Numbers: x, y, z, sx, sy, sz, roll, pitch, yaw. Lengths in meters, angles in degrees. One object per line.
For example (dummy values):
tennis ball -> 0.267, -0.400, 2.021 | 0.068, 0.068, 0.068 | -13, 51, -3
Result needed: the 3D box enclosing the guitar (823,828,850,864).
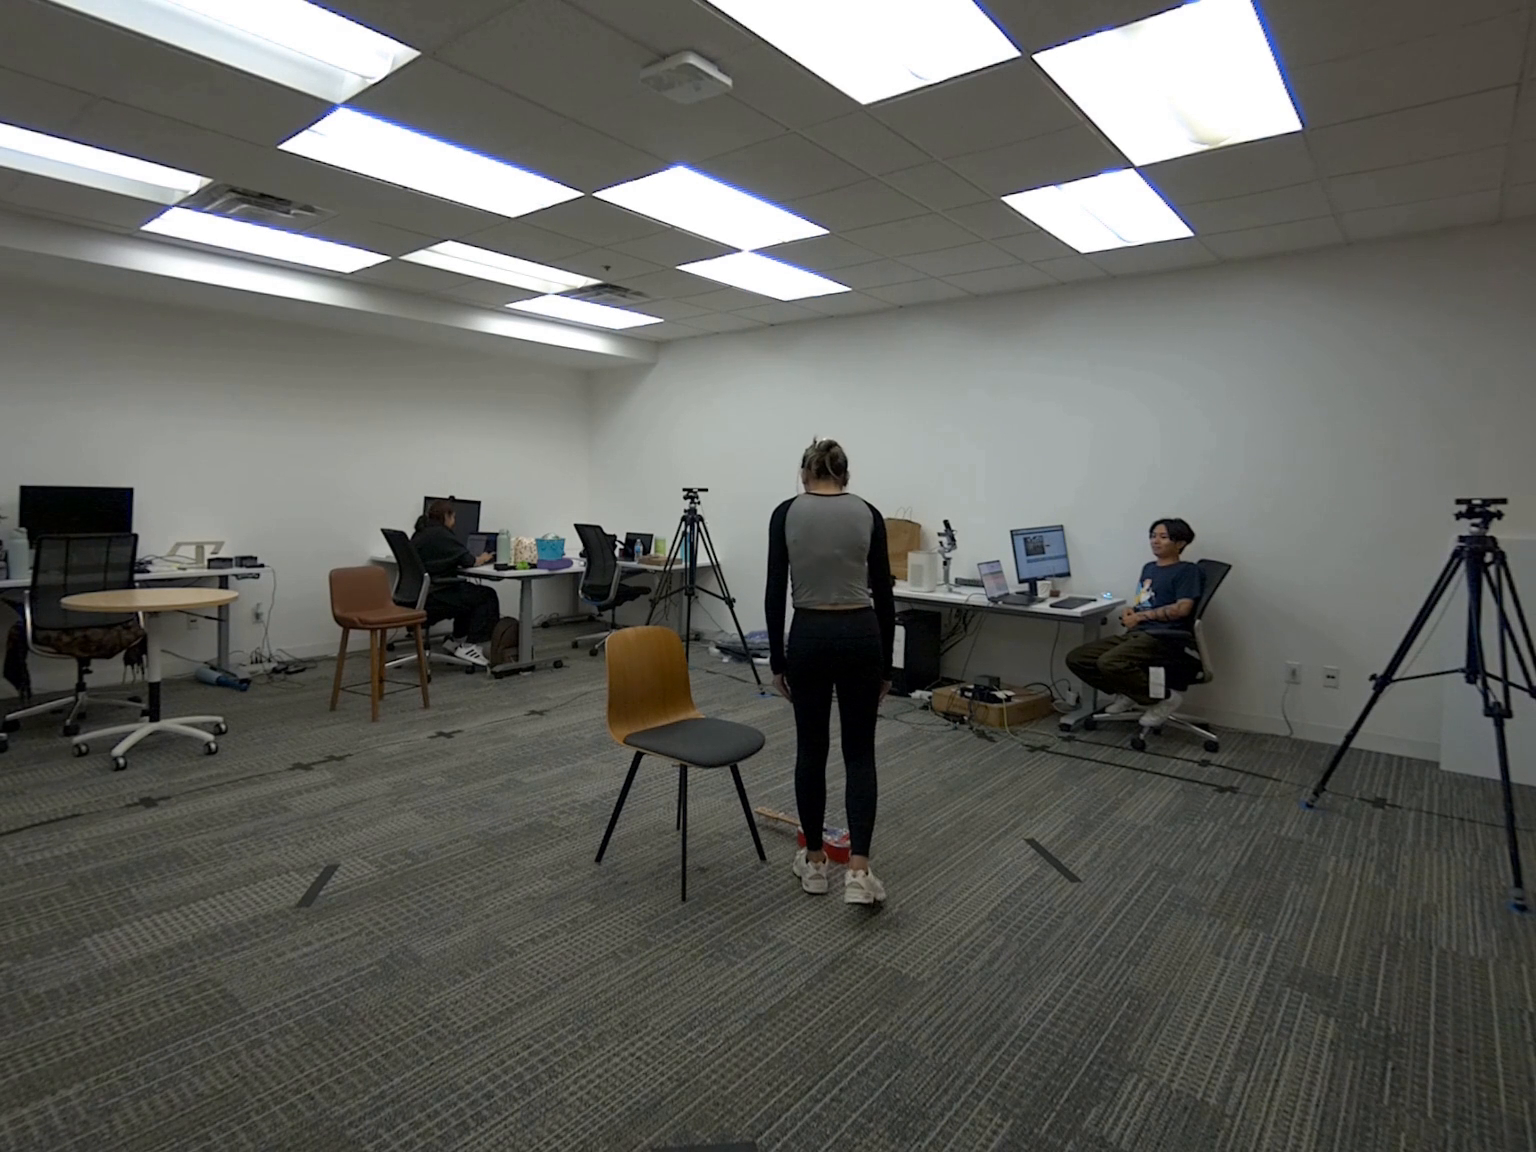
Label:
guitar -> 0.163, 1.010, 3.408 | 0.187, 0.070, 0.515 | -3, 8, -44
